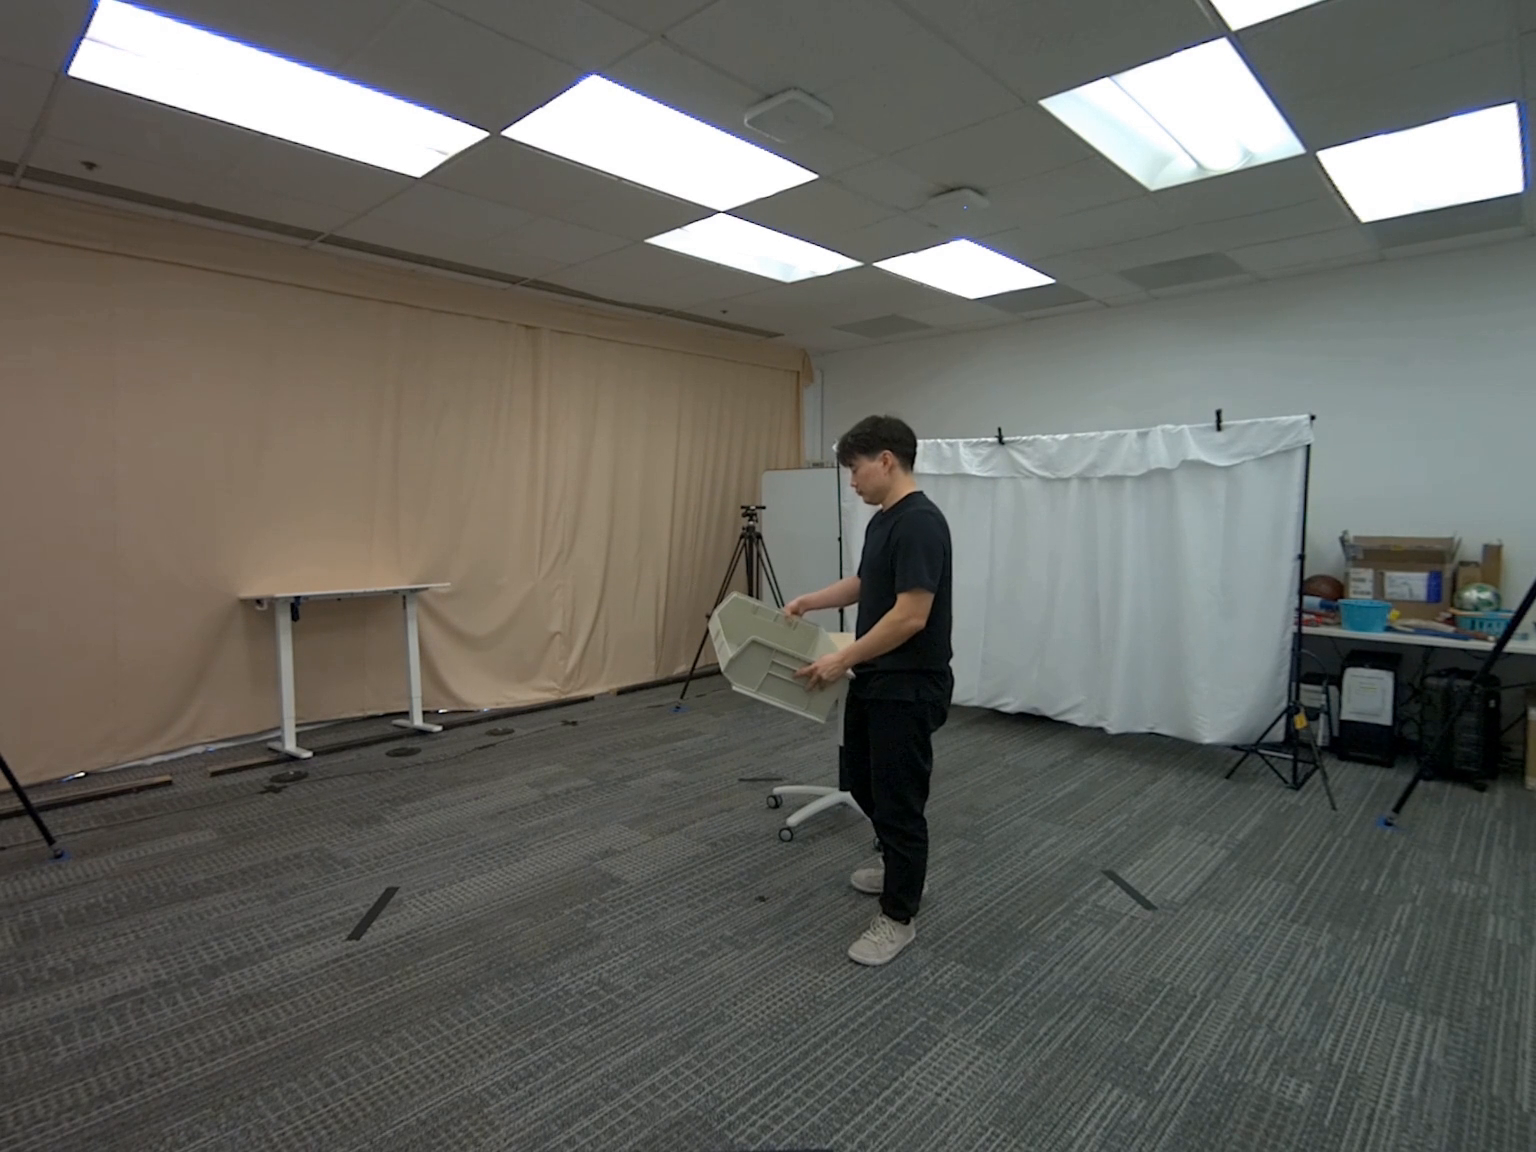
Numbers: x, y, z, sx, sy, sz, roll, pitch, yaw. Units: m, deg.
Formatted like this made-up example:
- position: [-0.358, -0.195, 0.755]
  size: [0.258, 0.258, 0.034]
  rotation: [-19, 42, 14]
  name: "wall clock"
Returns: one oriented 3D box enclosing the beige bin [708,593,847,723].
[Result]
- position: [0.019, 0.253, 2.687]
  size: [0.373, 0.188, 0.428]
  rotation: [22, 14, -11]
  name: "beige bin"
